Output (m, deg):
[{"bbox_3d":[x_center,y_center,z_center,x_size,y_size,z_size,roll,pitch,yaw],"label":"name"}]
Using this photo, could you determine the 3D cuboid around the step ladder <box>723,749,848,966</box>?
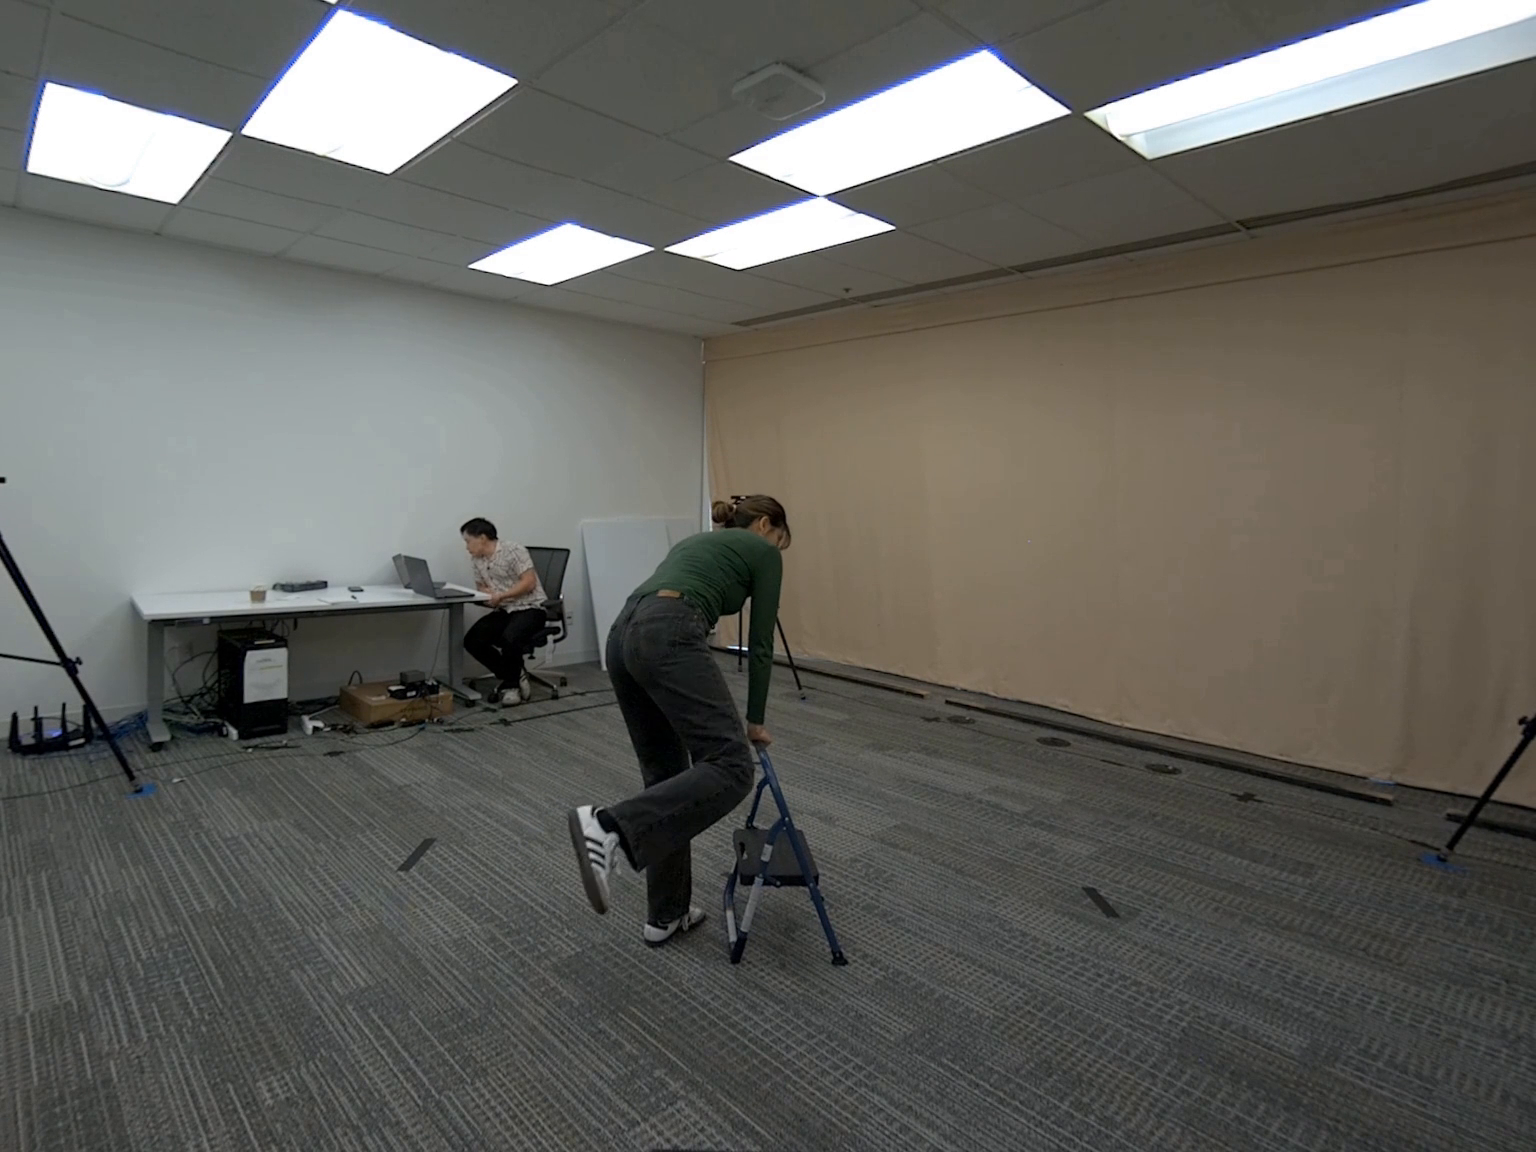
[{"bbox_3d":[0.037,0.842,2.701,0.348,0.604,0.434,1,4,-6],"label":"step ladder"}]
